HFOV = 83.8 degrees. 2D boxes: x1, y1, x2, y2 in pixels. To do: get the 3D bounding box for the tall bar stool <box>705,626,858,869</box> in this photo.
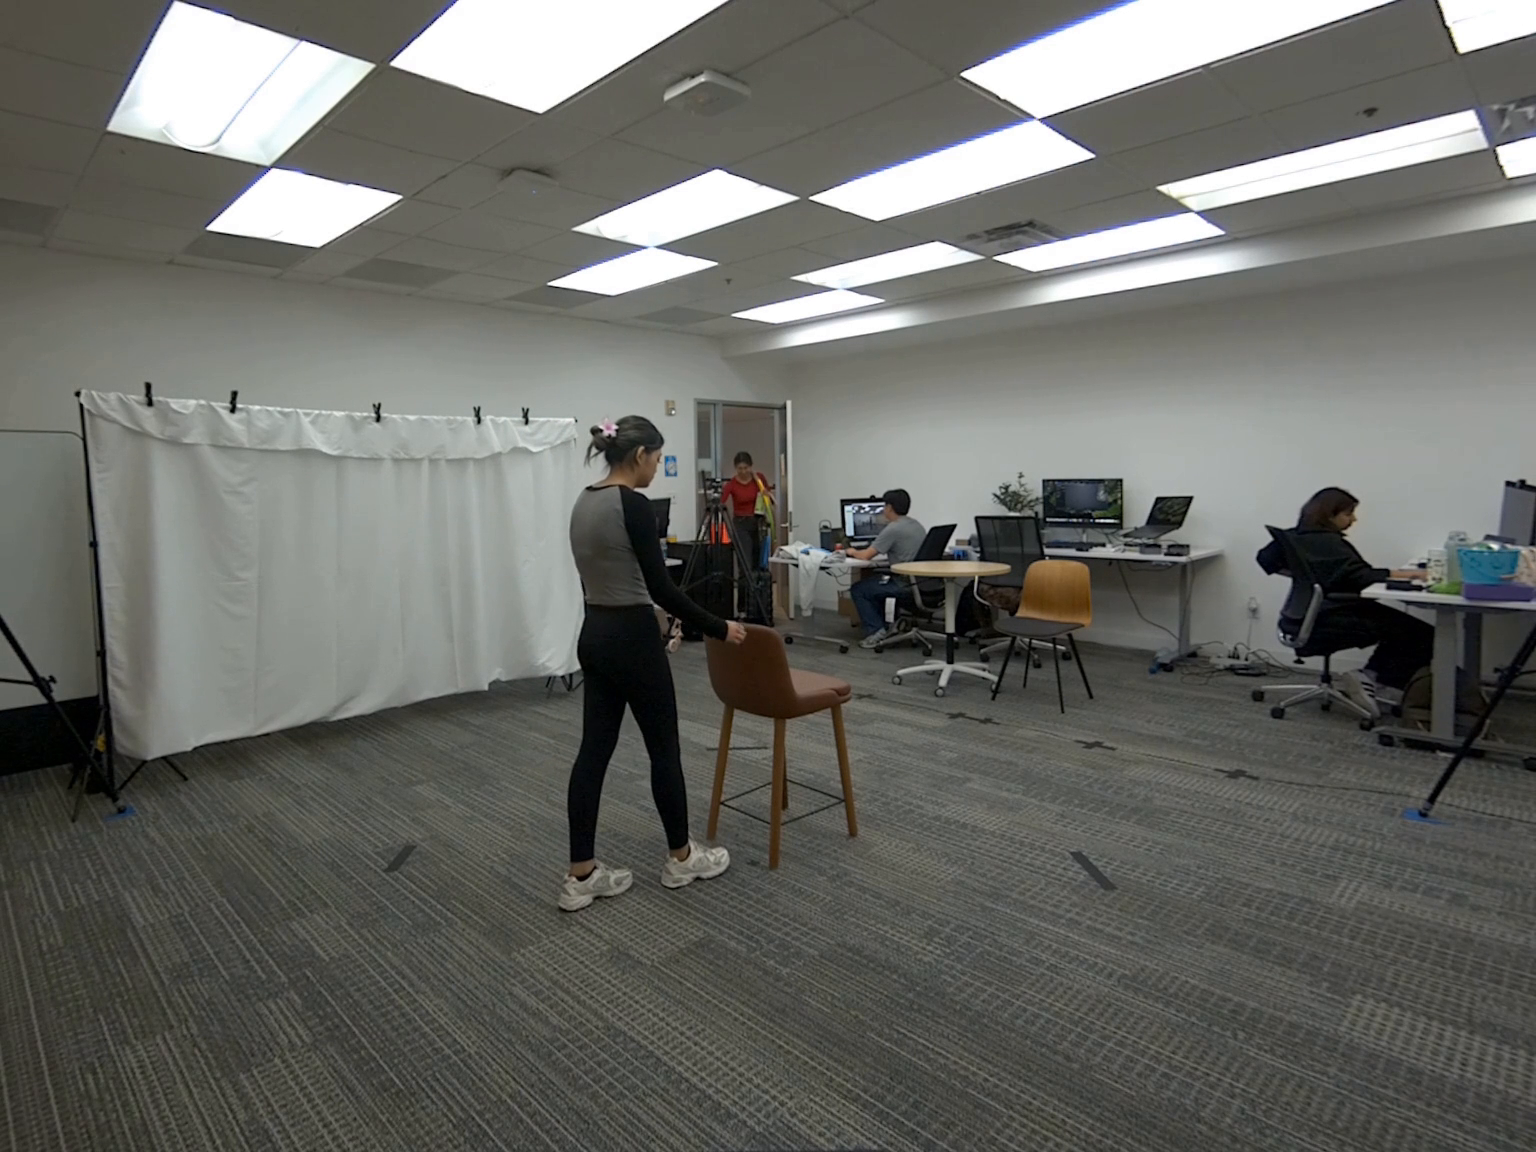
[{"bbox_3d":[0.041,0.582,3.303,0.456,0.885,0.470,-7,7,-42],"label":"tall bar stool"}]
